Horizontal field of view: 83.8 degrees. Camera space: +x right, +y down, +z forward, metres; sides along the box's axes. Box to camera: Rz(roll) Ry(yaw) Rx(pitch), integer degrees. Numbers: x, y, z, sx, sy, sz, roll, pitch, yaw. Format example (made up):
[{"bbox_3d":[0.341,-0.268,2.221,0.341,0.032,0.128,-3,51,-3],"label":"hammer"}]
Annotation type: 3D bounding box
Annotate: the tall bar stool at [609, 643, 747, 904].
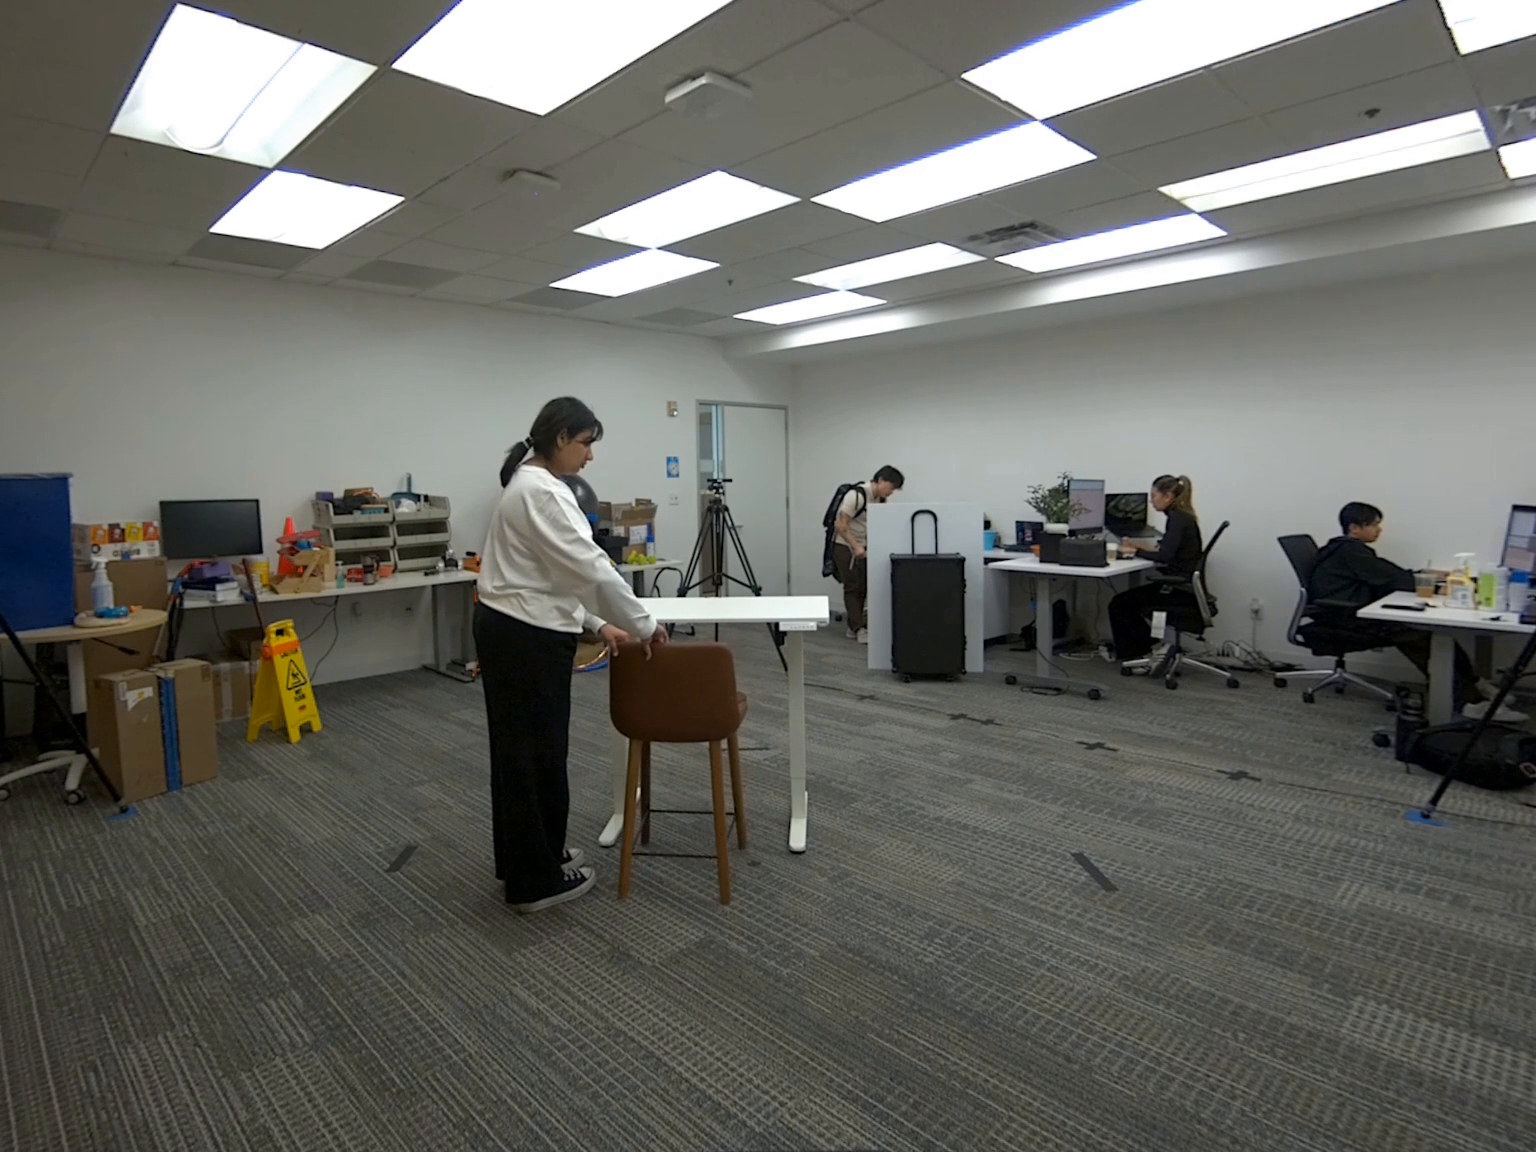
[{"bbox_3d":[-0.311,0.624,3.015,0.460,0.884,0.467,-1,7,6],"label":"tall bar stool"}]
